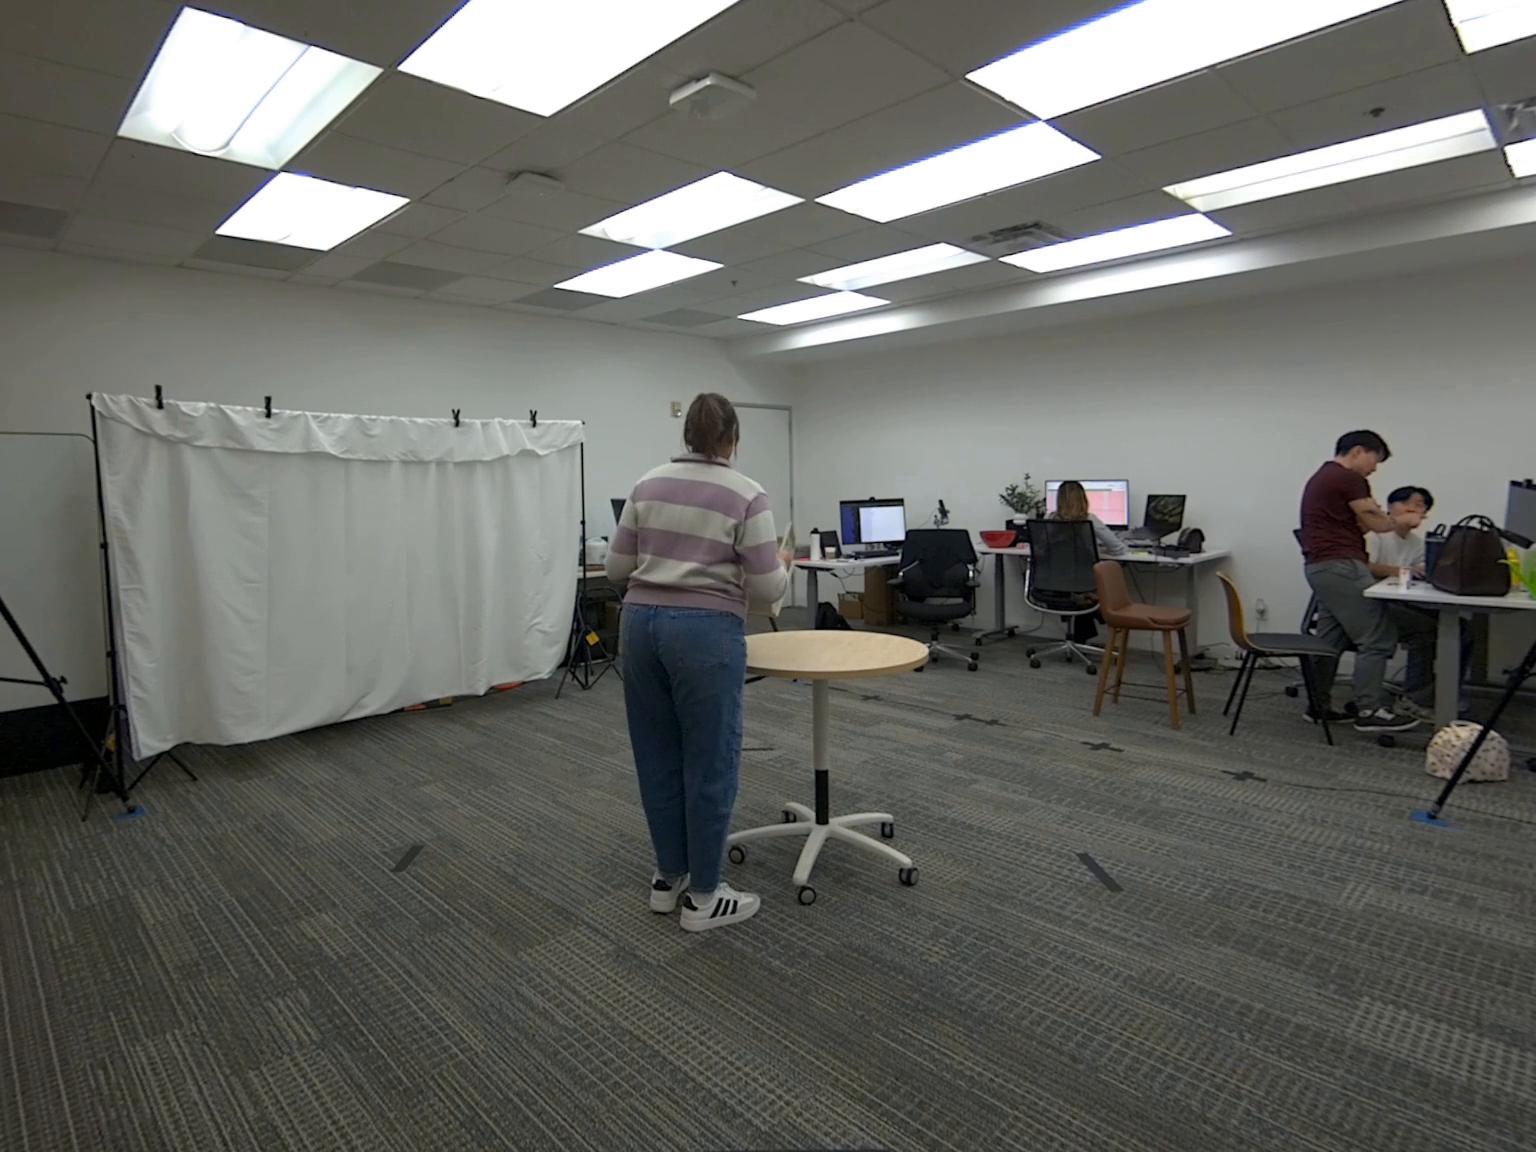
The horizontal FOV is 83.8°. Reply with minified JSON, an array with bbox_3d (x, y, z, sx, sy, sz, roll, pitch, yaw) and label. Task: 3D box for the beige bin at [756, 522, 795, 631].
[{"bbox_3d":[-0.134,-0.042,3.058,0.429,0.183,0.382,3,37,15],"label":"beige bin"}]
